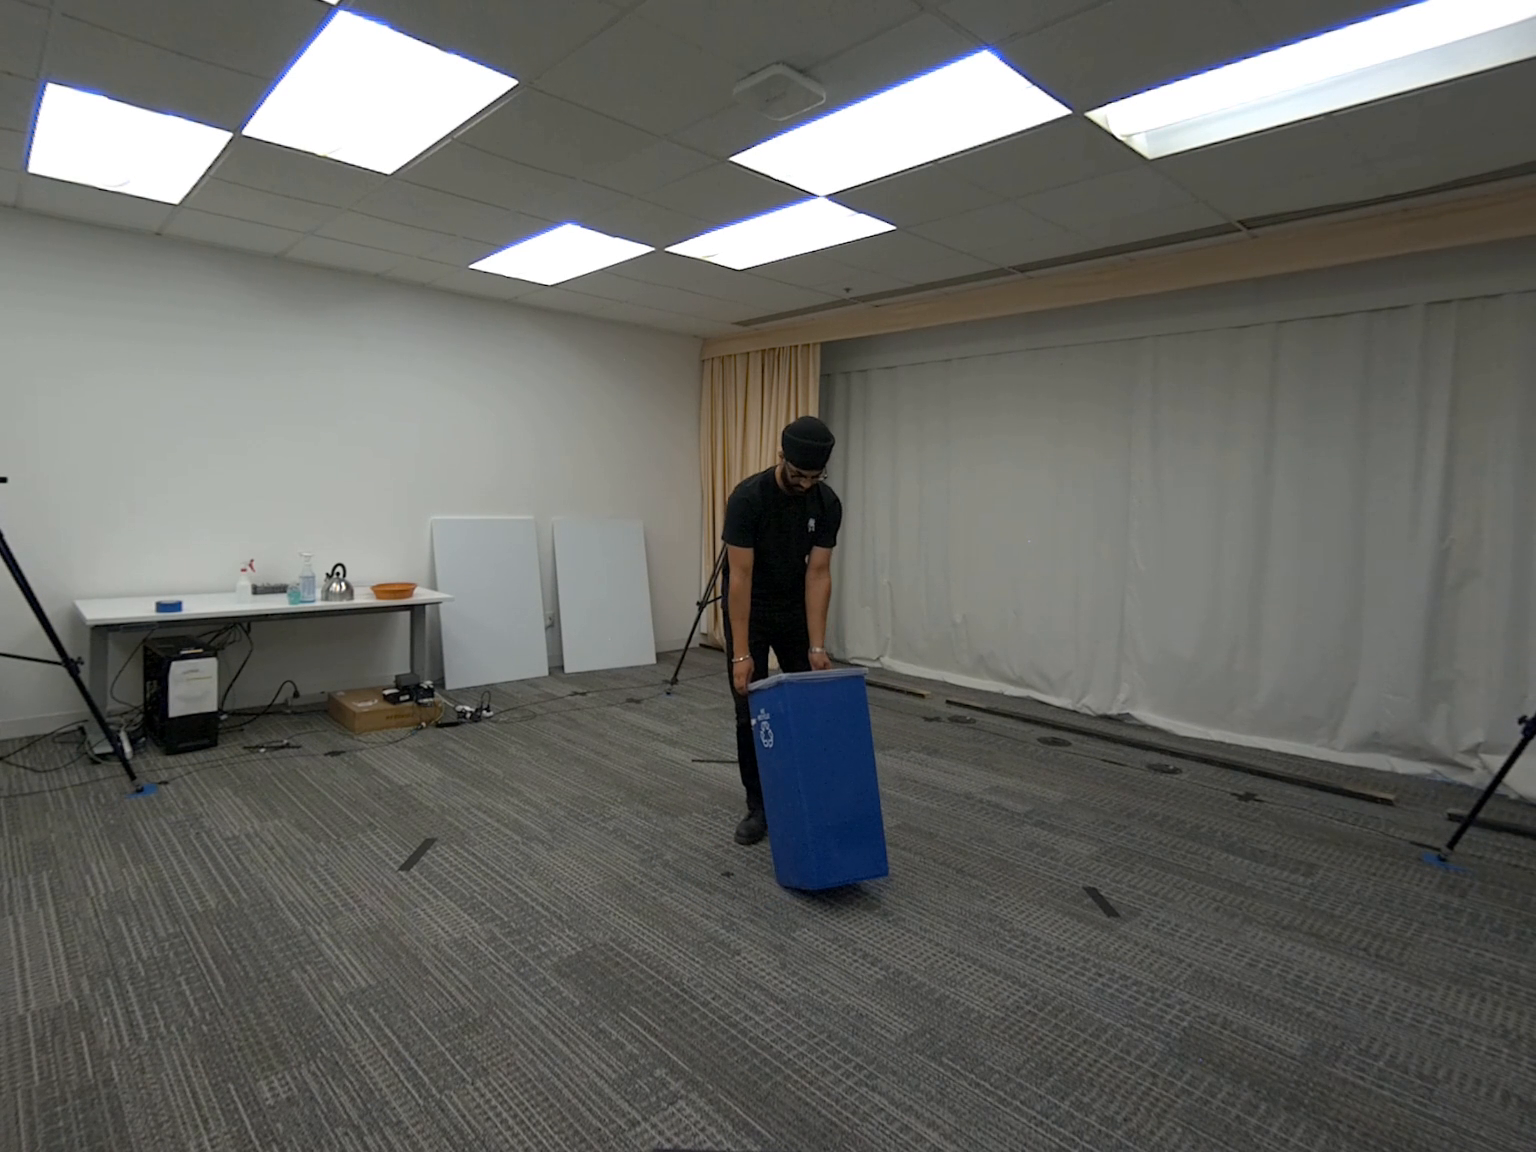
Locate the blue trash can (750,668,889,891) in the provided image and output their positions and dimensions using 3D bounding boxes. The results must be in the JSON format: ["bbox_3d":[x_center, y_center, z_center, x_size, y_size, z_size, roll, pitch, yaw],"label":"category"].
[{"bbox_3d":[0.165,0.729,3.053,0.371,0.722,0.376,0,-16,-26],"label":"blue trash can"}]
